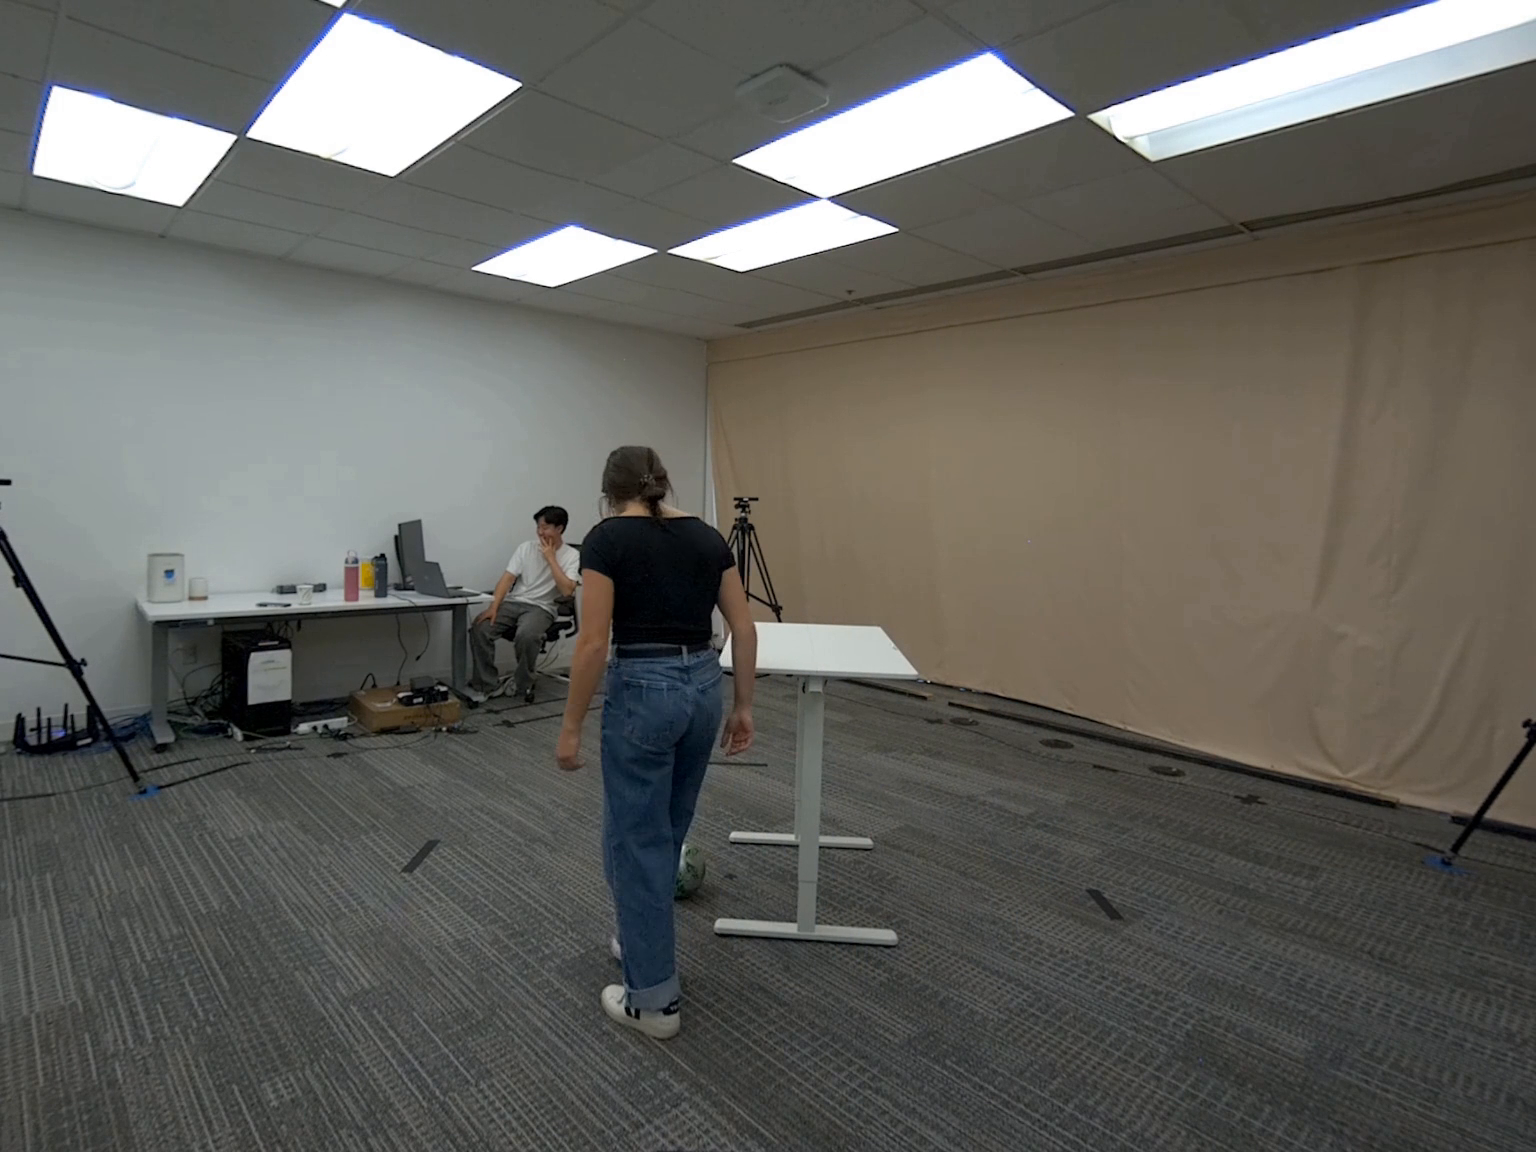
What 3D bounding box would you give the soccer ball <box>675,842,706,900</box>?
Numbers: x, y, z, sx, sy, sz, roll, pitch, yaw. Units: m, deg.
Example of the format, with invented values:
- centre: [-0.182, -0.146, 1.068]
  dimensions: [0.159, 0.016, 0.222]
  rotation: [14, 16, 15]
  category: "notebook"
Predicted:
- centre: [-0.317, 1.030, 2.939]
  dimensions: [0.187, 0.187, 0.188]
  rotation: [1, 4, -1]
  category: "soccer ball"
